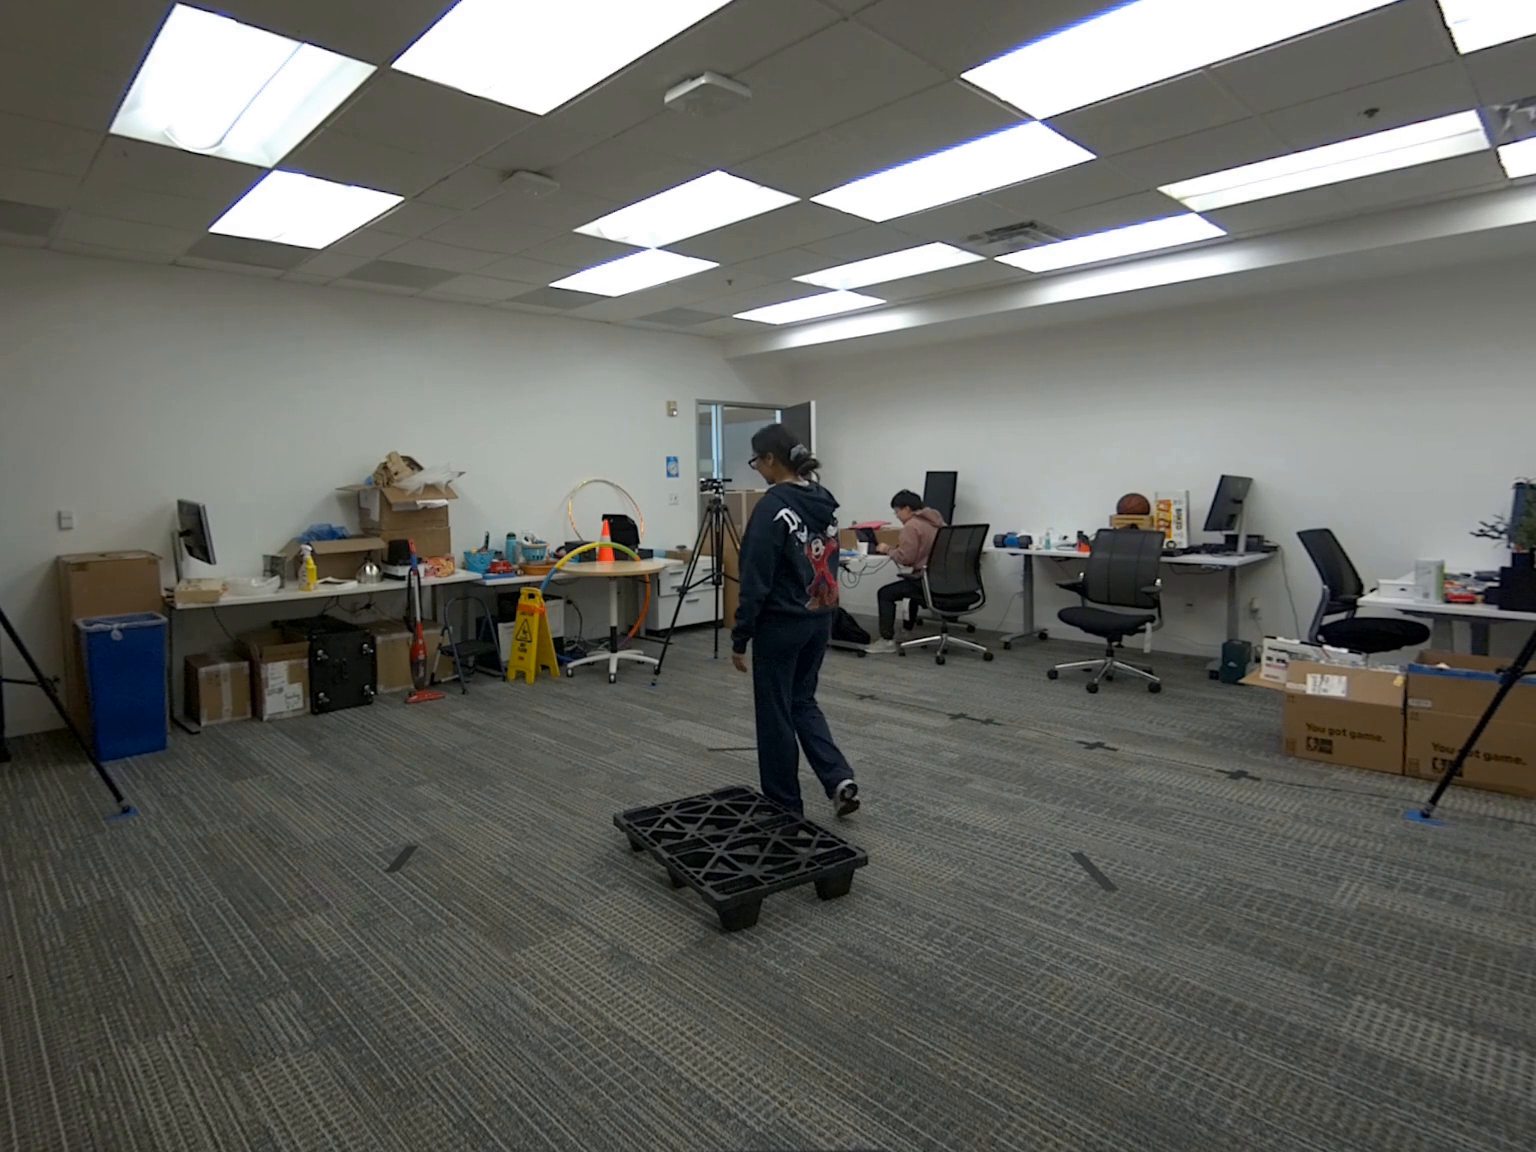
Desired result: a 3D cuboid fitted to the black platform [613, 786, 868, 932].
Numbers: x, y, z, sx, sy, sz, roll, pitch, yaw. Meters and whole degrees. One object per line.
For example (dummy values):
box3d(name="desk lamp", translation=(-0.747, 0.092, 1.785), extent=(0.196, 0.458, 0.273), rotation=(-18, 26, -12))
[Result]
box3d(name="black platform", translation=(-0.124, 0.985, 3.051), extent=(0.591, 0.142, 0.829), rotation=(-6, 8, -32))
